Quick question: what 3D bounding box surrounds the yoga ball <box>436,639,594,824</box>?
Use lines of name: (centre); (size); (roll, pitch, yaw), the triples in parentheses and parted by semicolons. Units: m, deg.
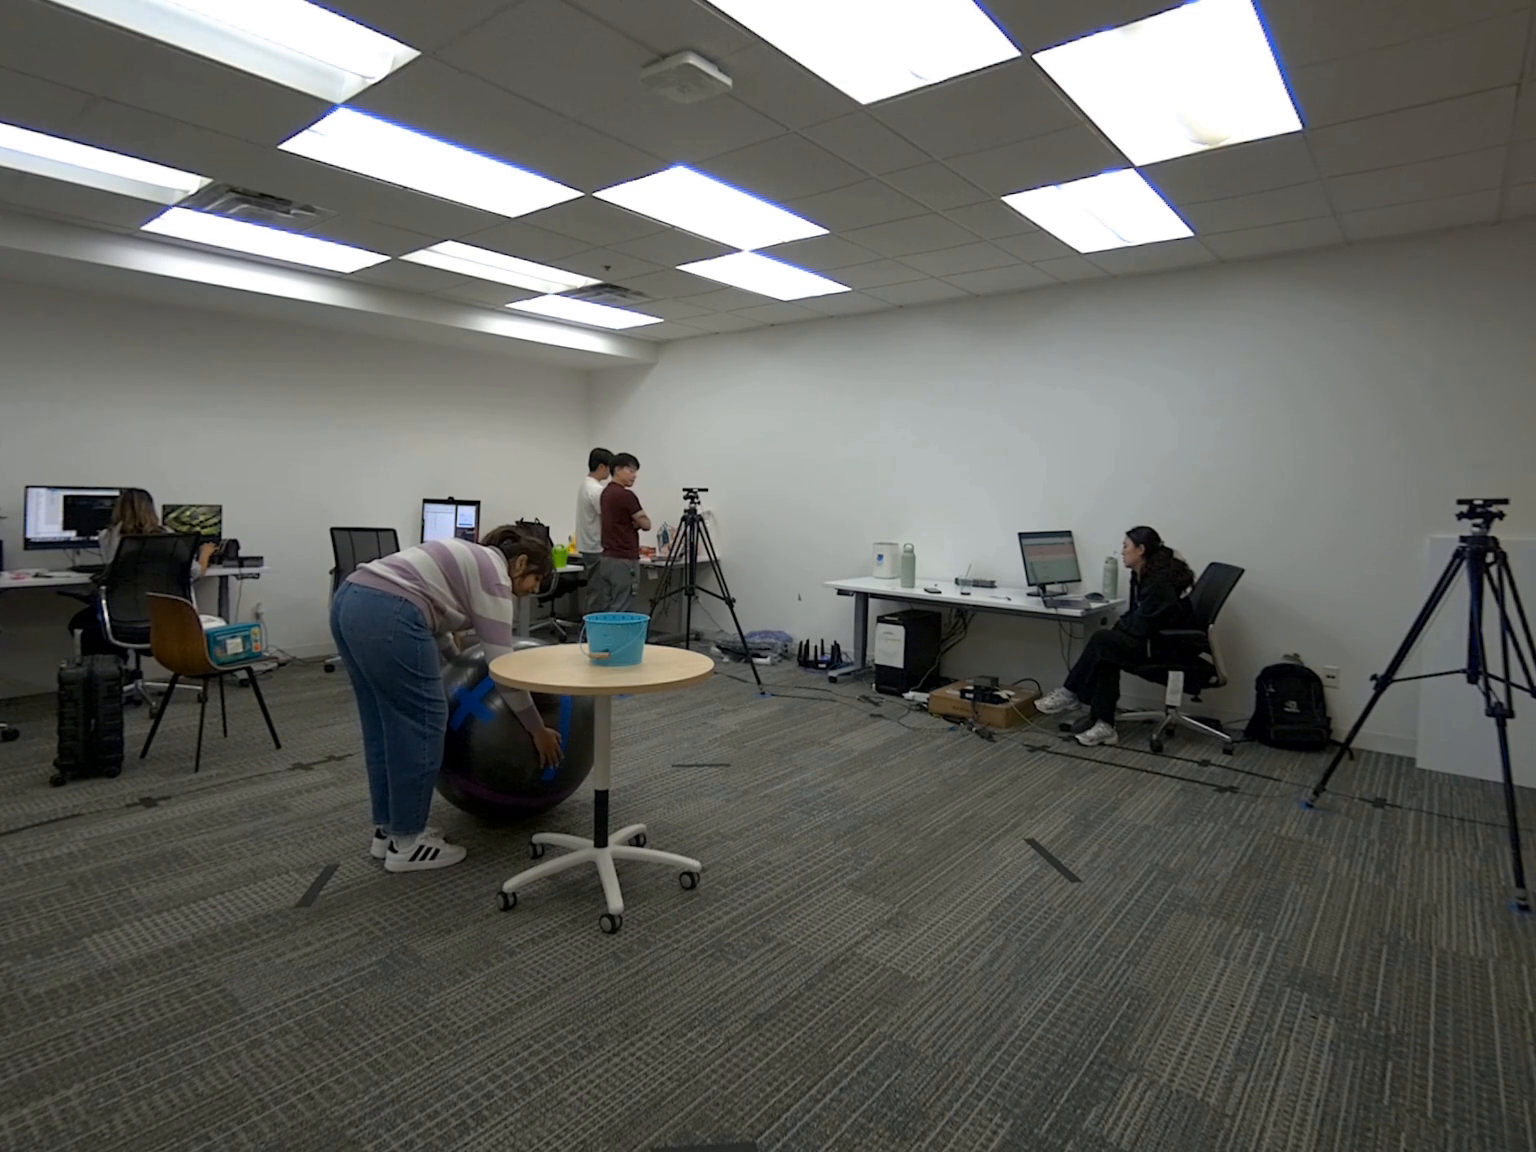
yoga ball: (-1.086, 0.634, 3.604); (0.757, 0.755, 0.762); (1, 4, -2)
